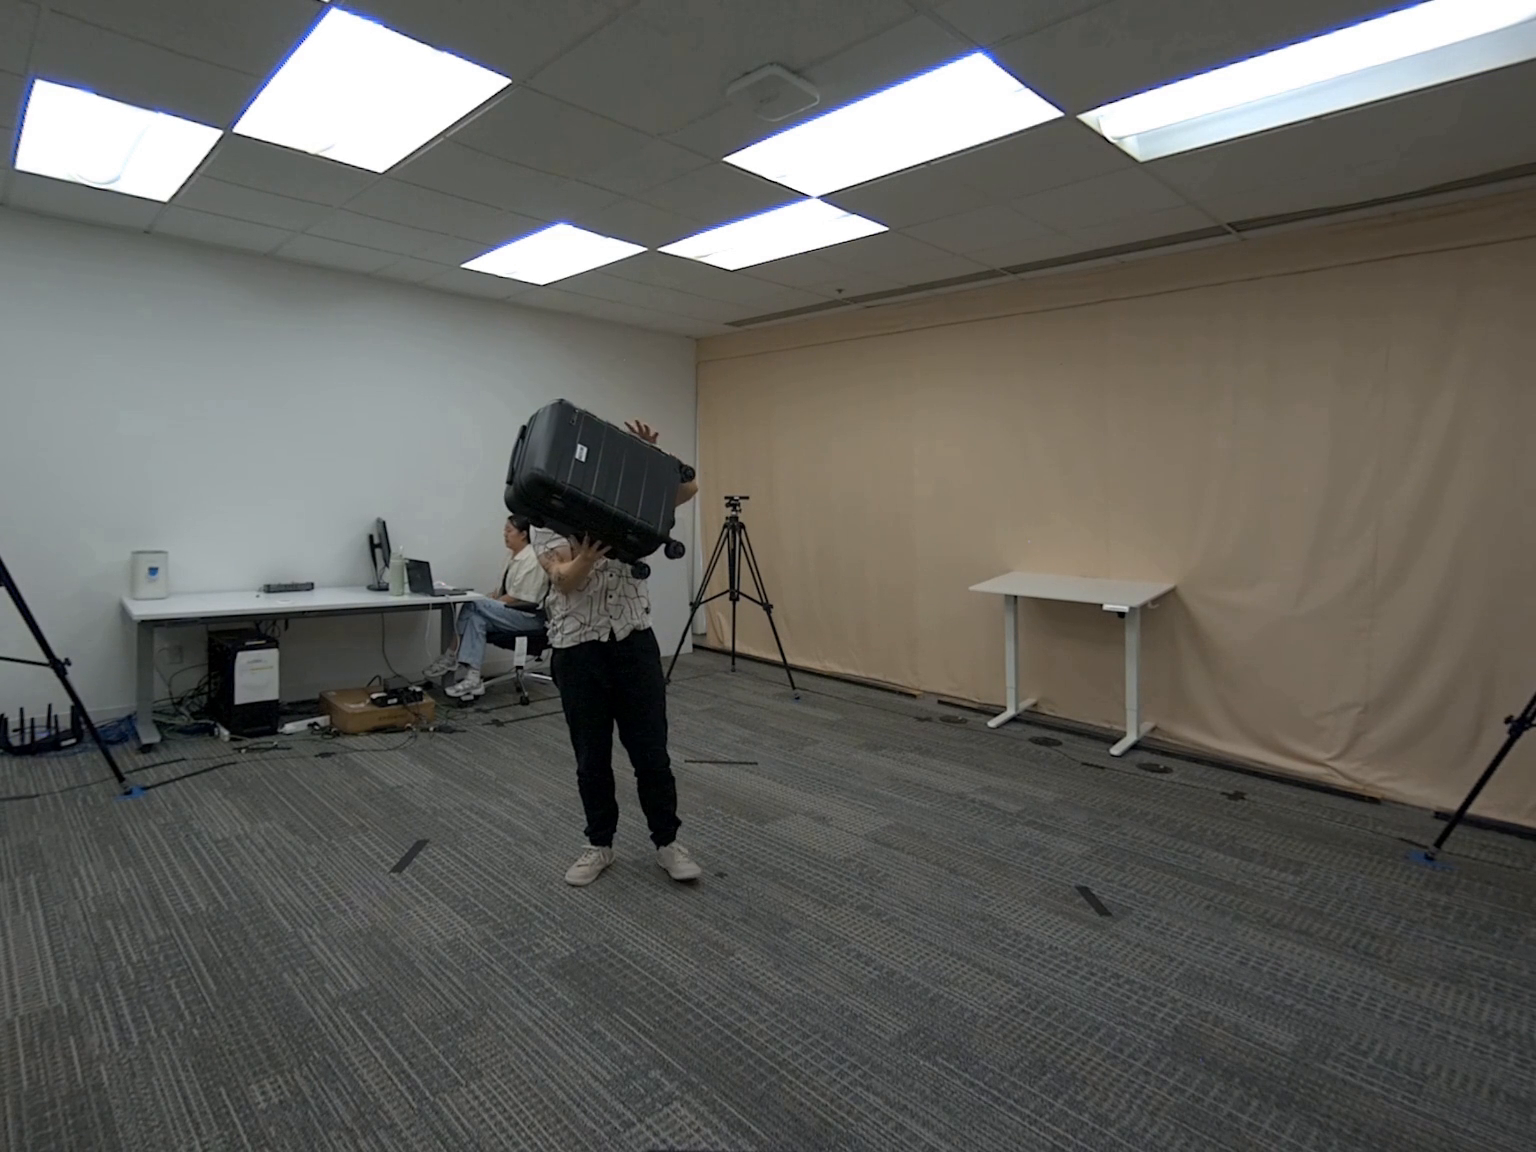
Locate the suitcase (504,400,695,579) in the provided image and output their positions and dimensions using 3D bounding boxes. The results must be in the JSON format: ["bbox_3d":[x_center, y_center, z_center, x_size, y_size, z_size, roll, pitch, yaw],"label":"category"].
[{"bbox_3d":[-0.533,-0.285,2.627,0.534,0.382,0.251,27,-37,-31],"label":"suitcase"}]
